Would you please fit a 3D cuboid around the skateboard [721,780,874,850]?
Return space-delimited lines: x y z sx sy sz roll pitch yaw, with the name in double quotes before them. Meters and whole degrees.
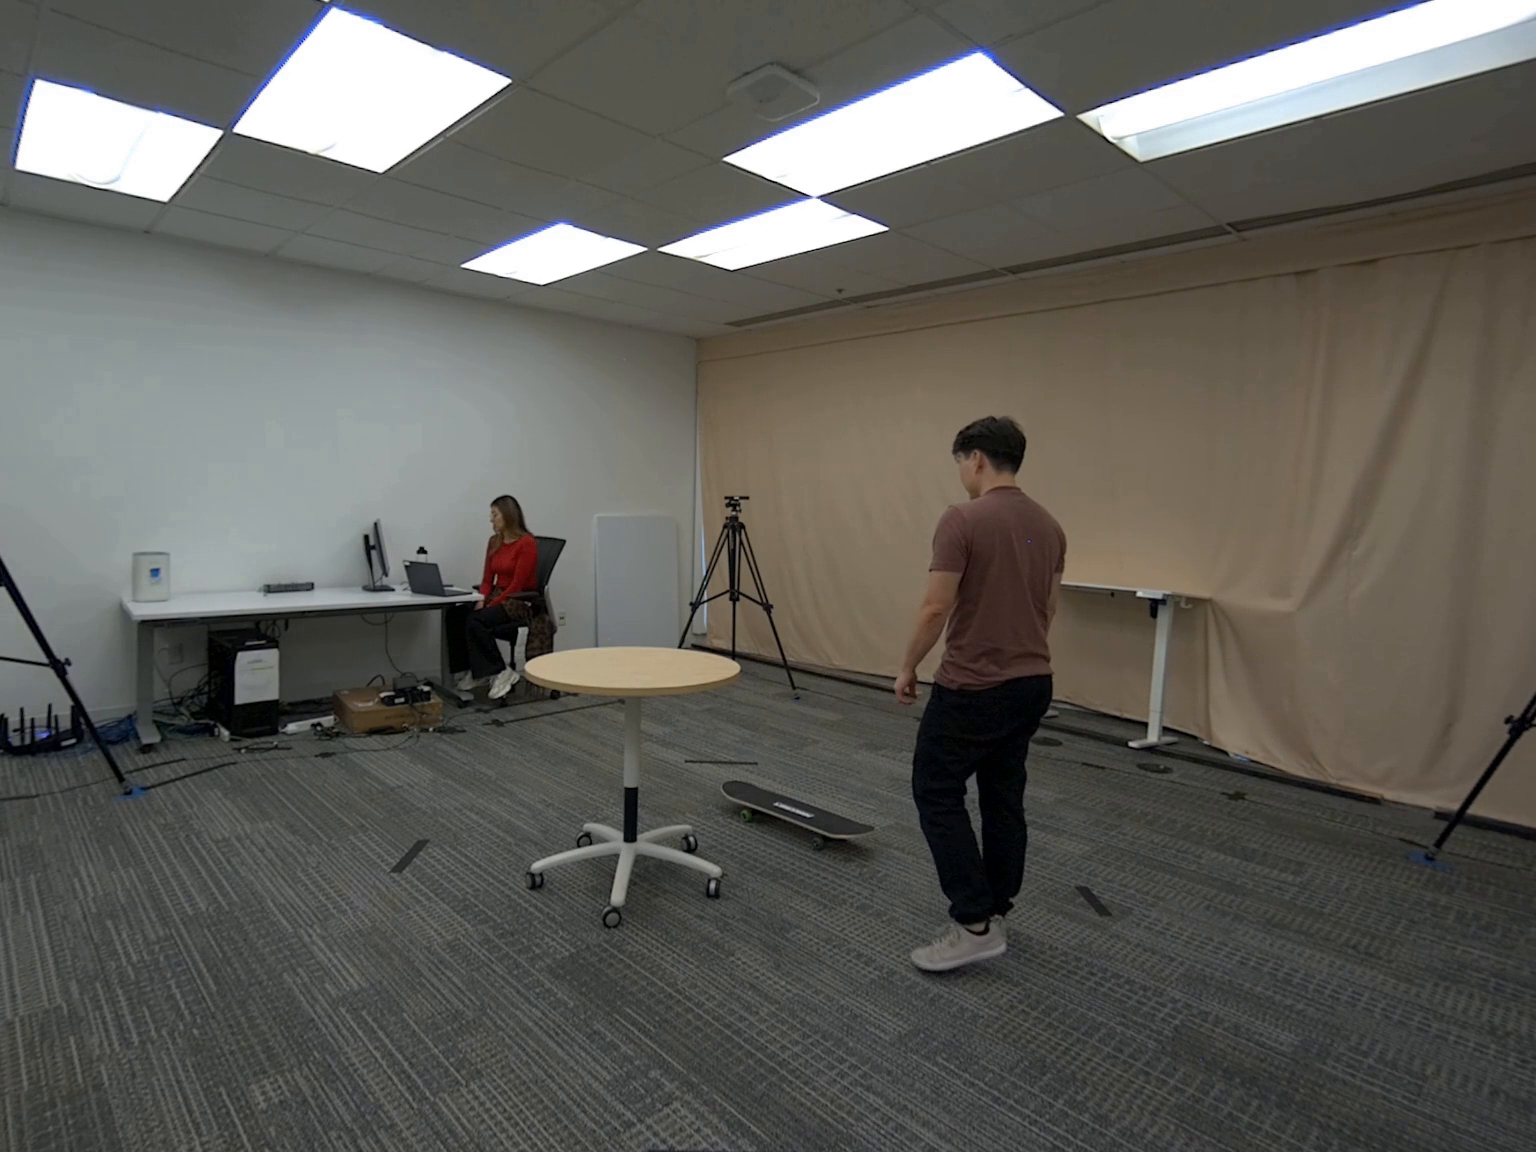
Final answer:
"skateboard" 0.097 1.016 3.548 0.806 0.110 0.189 6 5 44
